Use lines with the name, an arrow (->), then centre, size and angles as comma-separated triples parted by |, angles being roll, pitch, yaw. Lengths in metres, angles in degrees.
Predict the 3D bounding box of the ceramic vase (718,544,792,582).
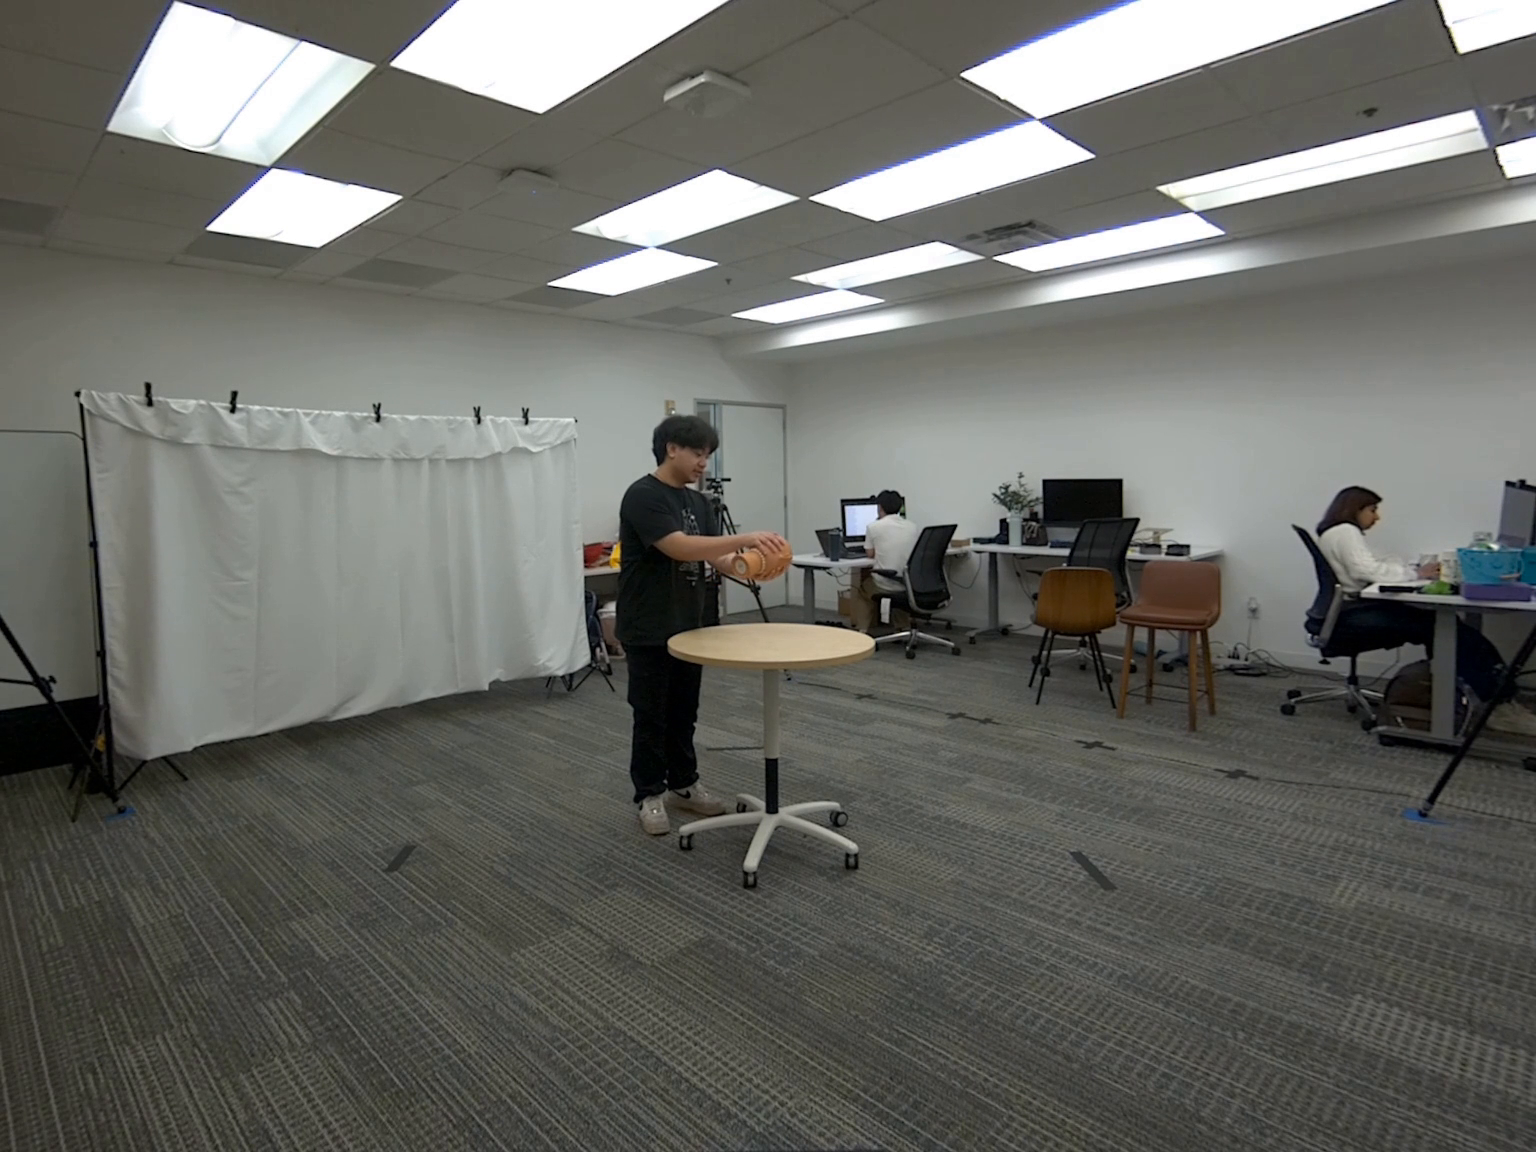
ceramic vase -> -0.024, -0.063, 3.225 | 0.216, 0.138, 0.158 | -21, -24, -41
